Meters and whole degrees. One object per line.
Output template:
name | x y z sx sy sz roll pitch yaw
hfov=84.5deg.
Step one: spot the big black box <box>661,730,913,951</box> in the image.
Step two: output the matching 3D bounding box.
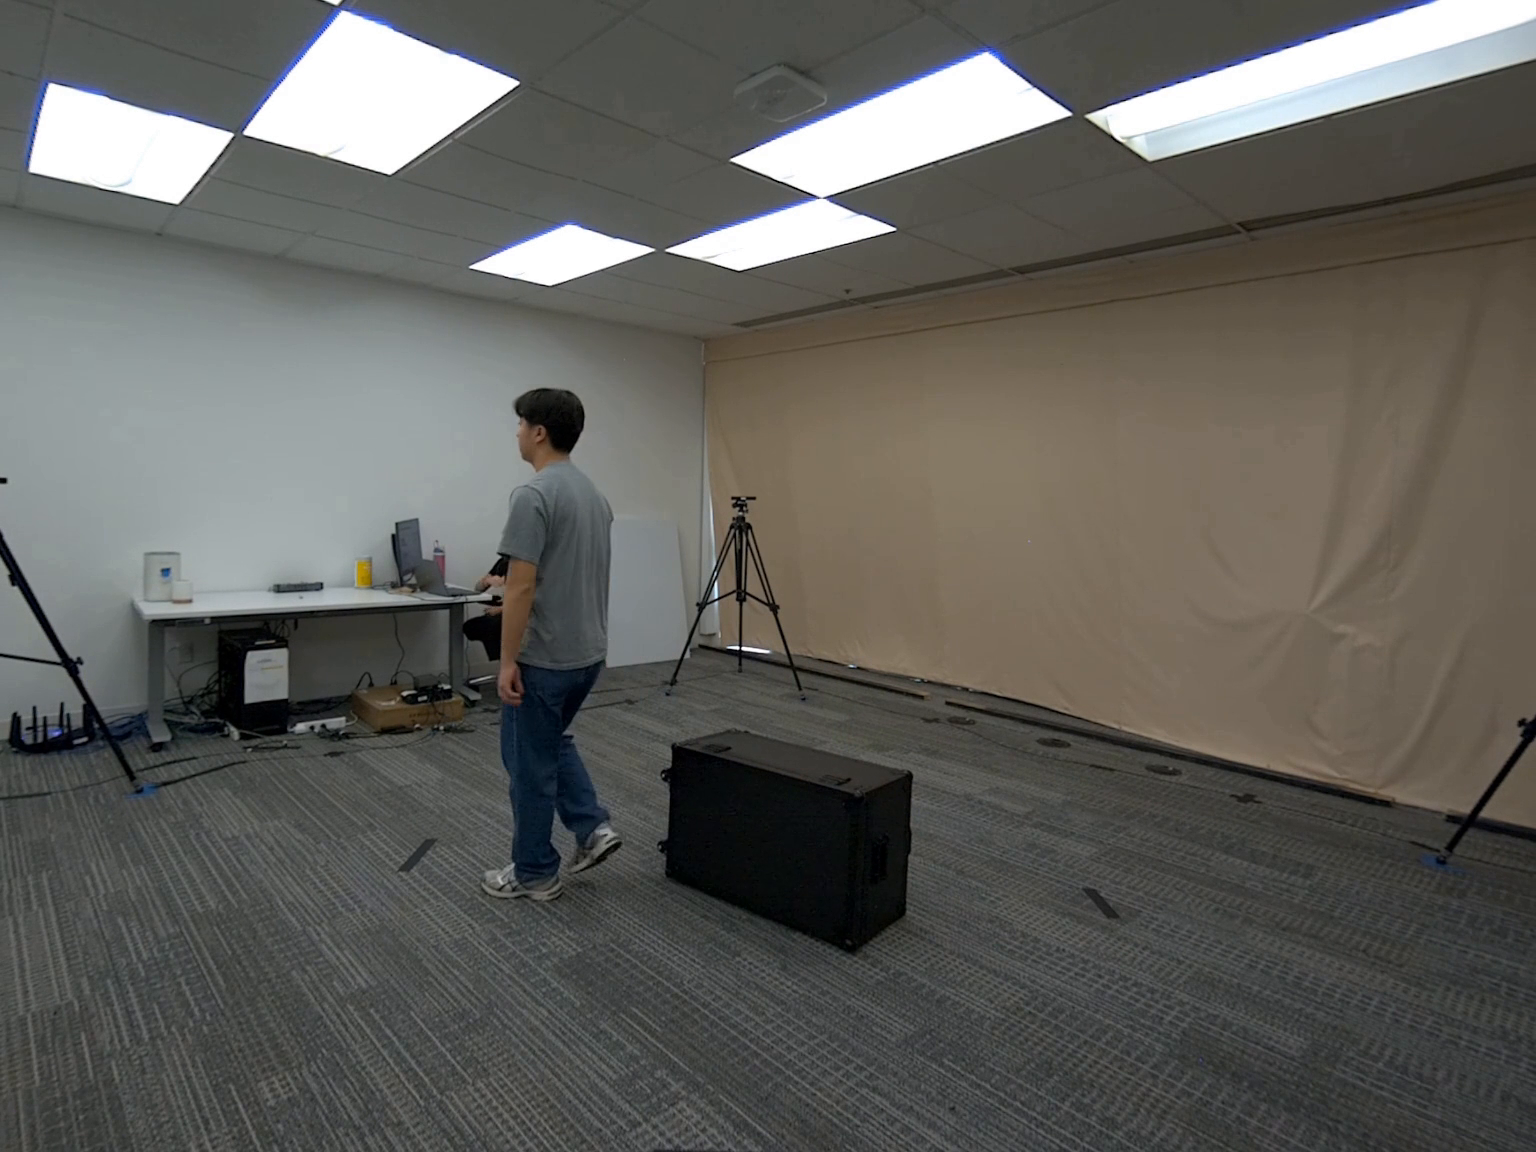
big black box | 0.036 0.866 2.971 0.882 0.521 0.387 4 3 37
